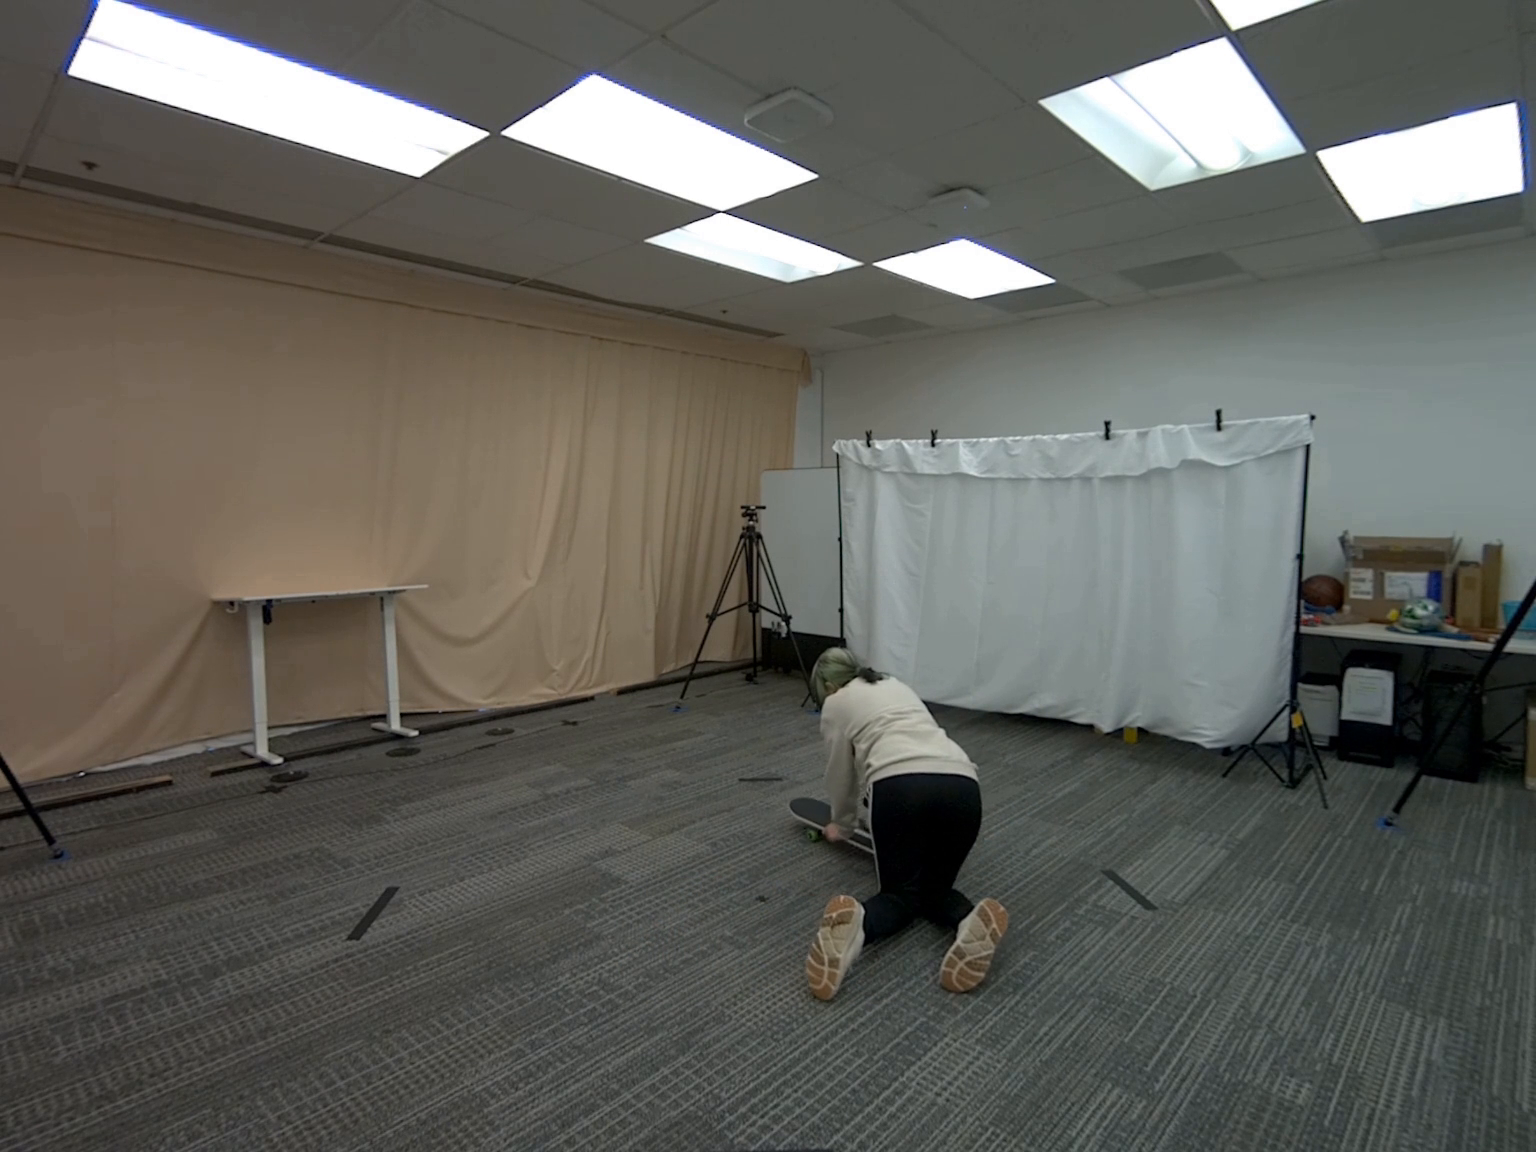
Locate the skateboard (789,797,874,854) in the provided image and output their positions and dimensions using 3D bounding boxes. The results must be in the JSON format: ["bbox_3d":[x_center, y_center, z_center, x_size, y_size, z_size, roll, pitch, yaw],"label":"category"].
[{"bbox_3d":[0.372,1.050,3.374,0.188,0.110,0.811,-3,6,-37],"label":"skateboard"}]
